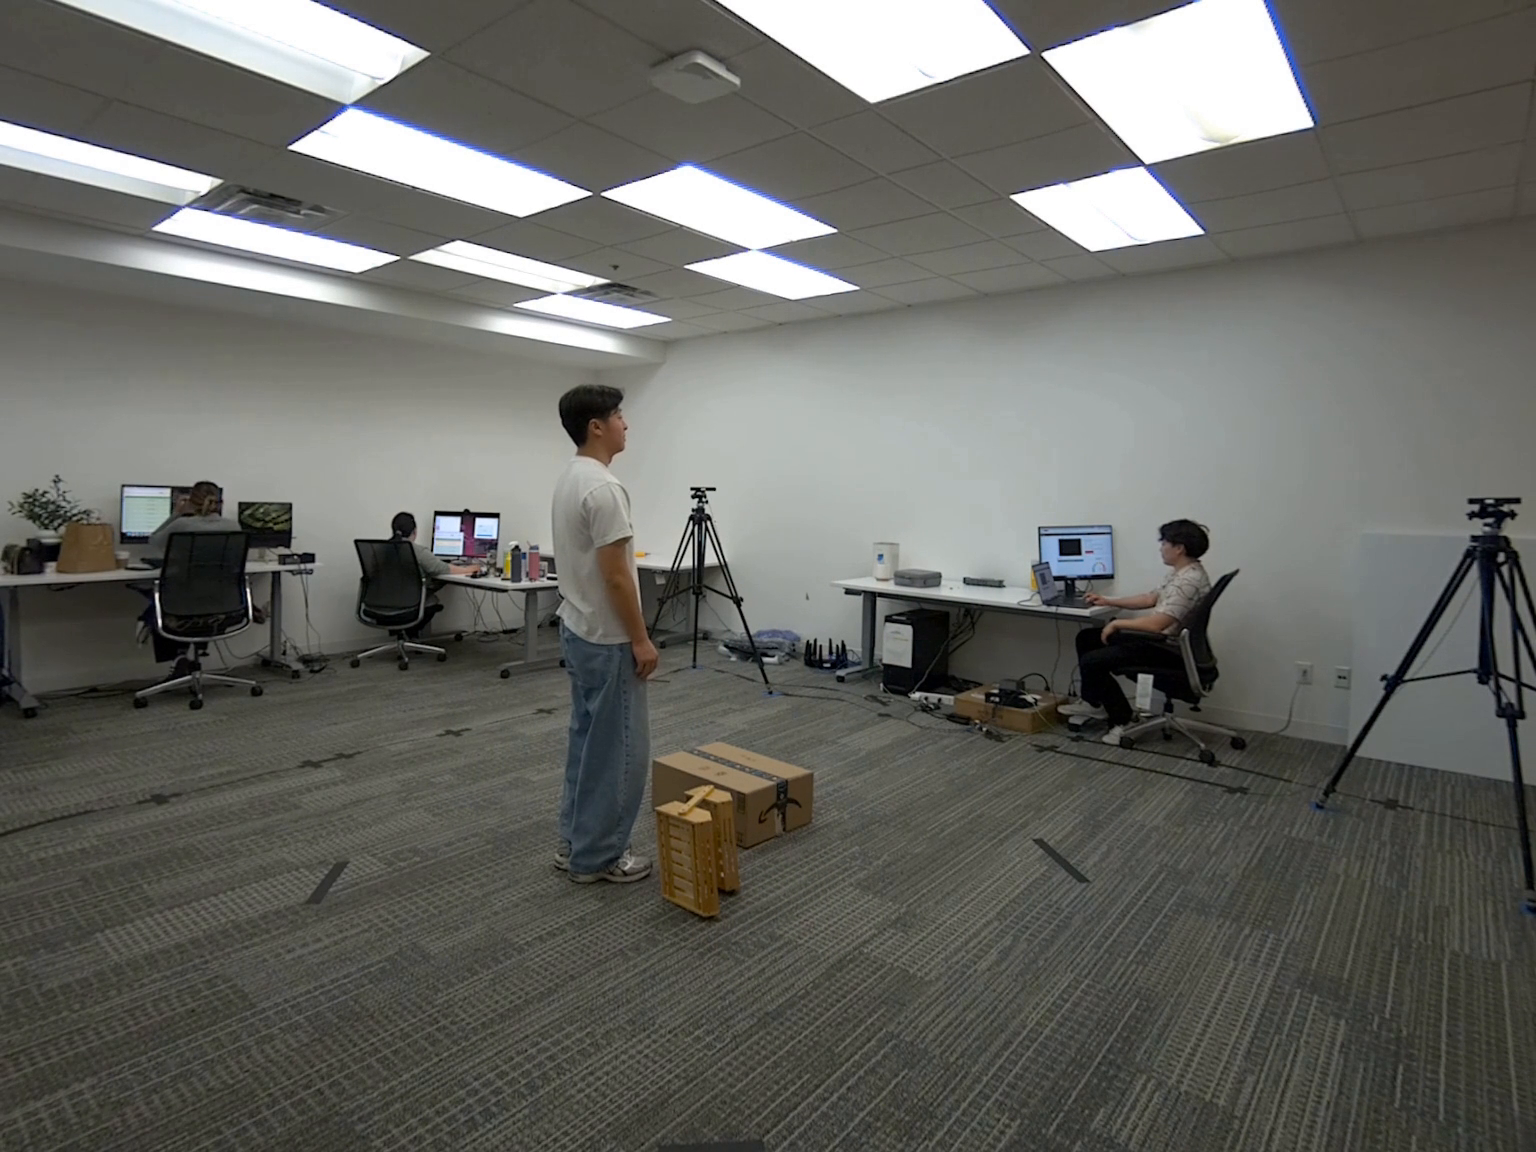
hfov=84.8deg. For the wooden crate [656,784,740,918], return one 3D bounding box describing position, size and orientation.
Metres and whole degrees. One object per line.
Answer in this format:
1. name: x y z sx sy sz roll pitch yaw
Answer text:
1. wooden crate: -0.219 0.921 2.894 0.266 0.324 0.311 -8 4 -43
